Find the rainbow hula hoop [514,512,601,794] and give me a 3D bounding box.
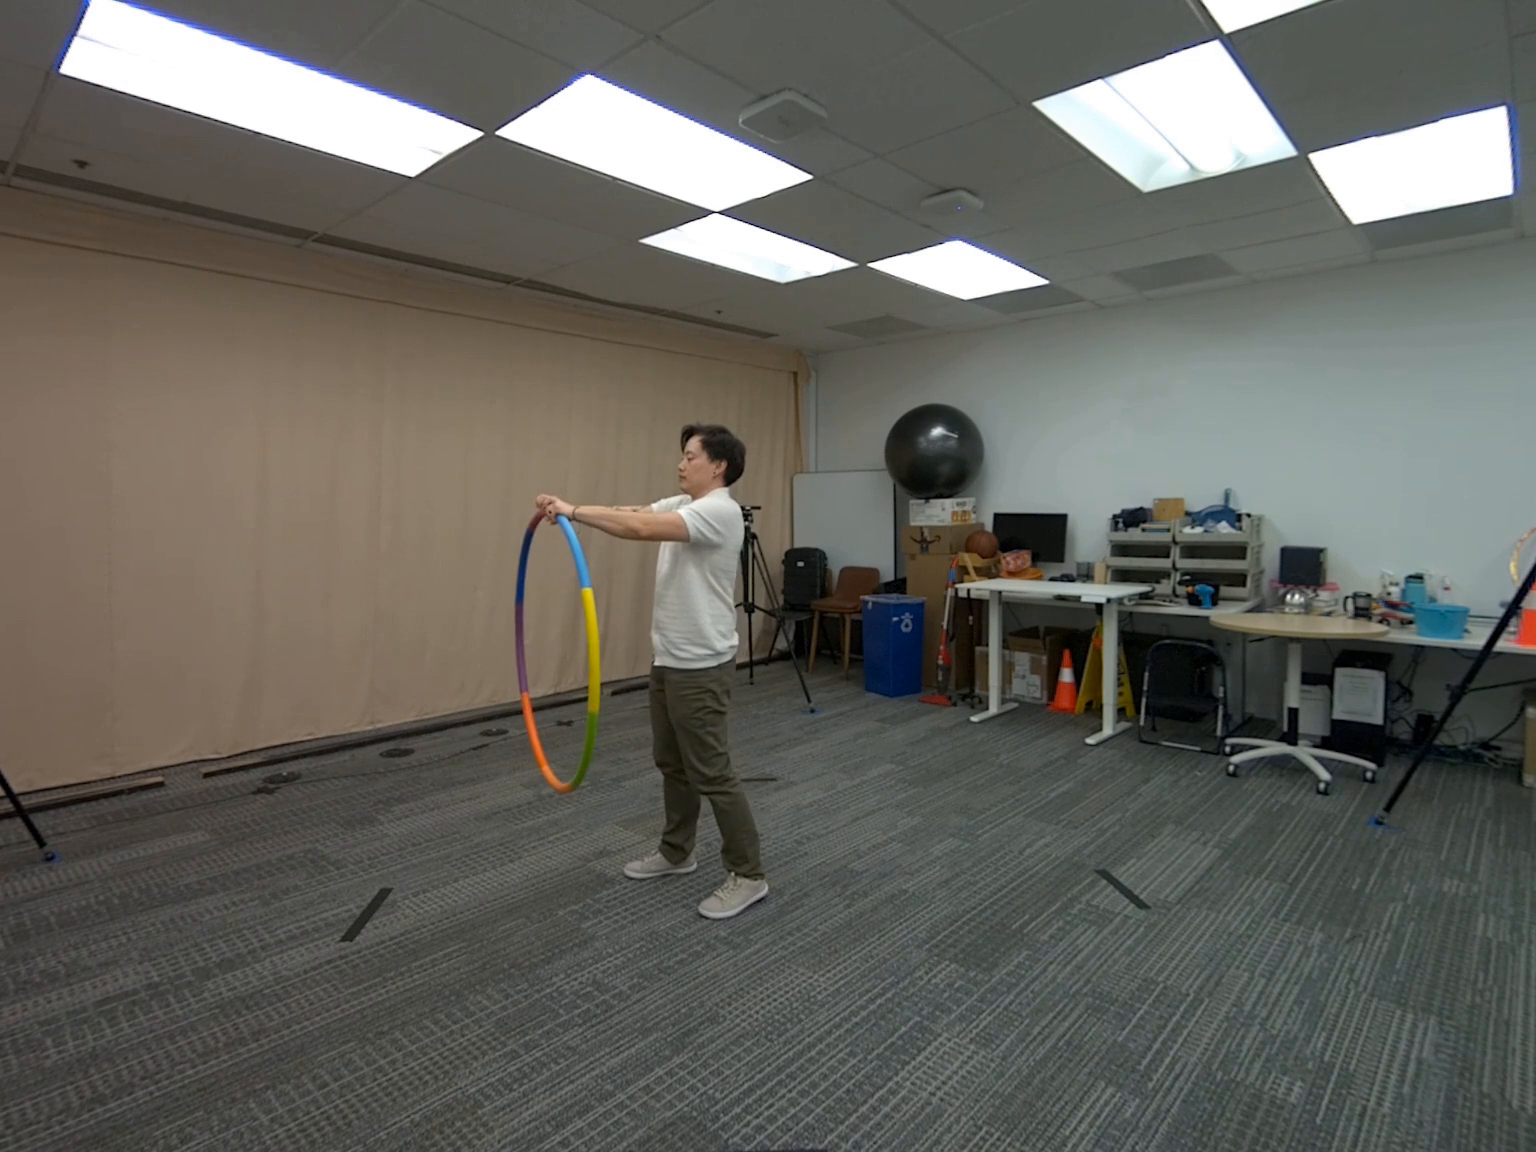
[{"bbox_3d":[-0.750,0.249,2.956,0.034,0.976,1.007,-2,4,-30],"label":"rainbow hula hoop"}]
